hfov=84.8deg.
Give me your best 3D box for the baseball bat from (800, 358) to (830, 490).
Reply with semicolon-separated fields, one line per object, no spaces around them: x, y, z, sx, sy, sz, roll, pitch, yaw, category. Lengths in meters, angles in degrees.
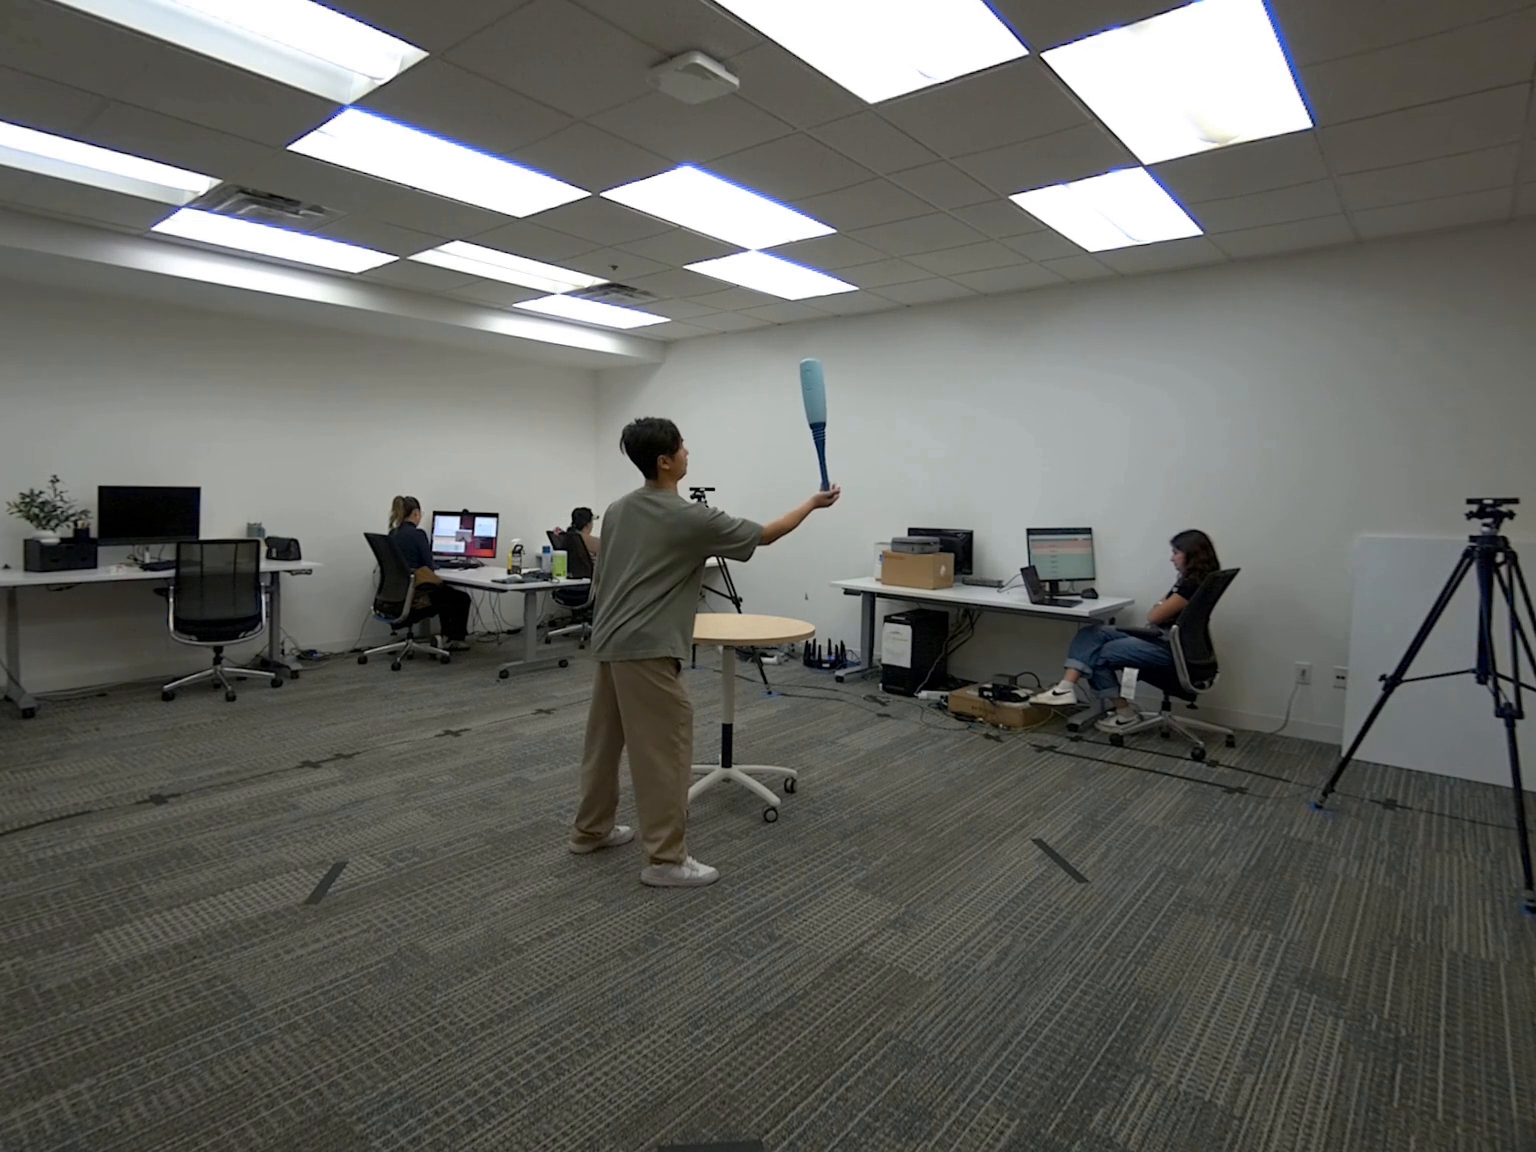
0.182;-0.577;3.303;0.089;0.545;0.089;-8;-3;-2;baseball bat
